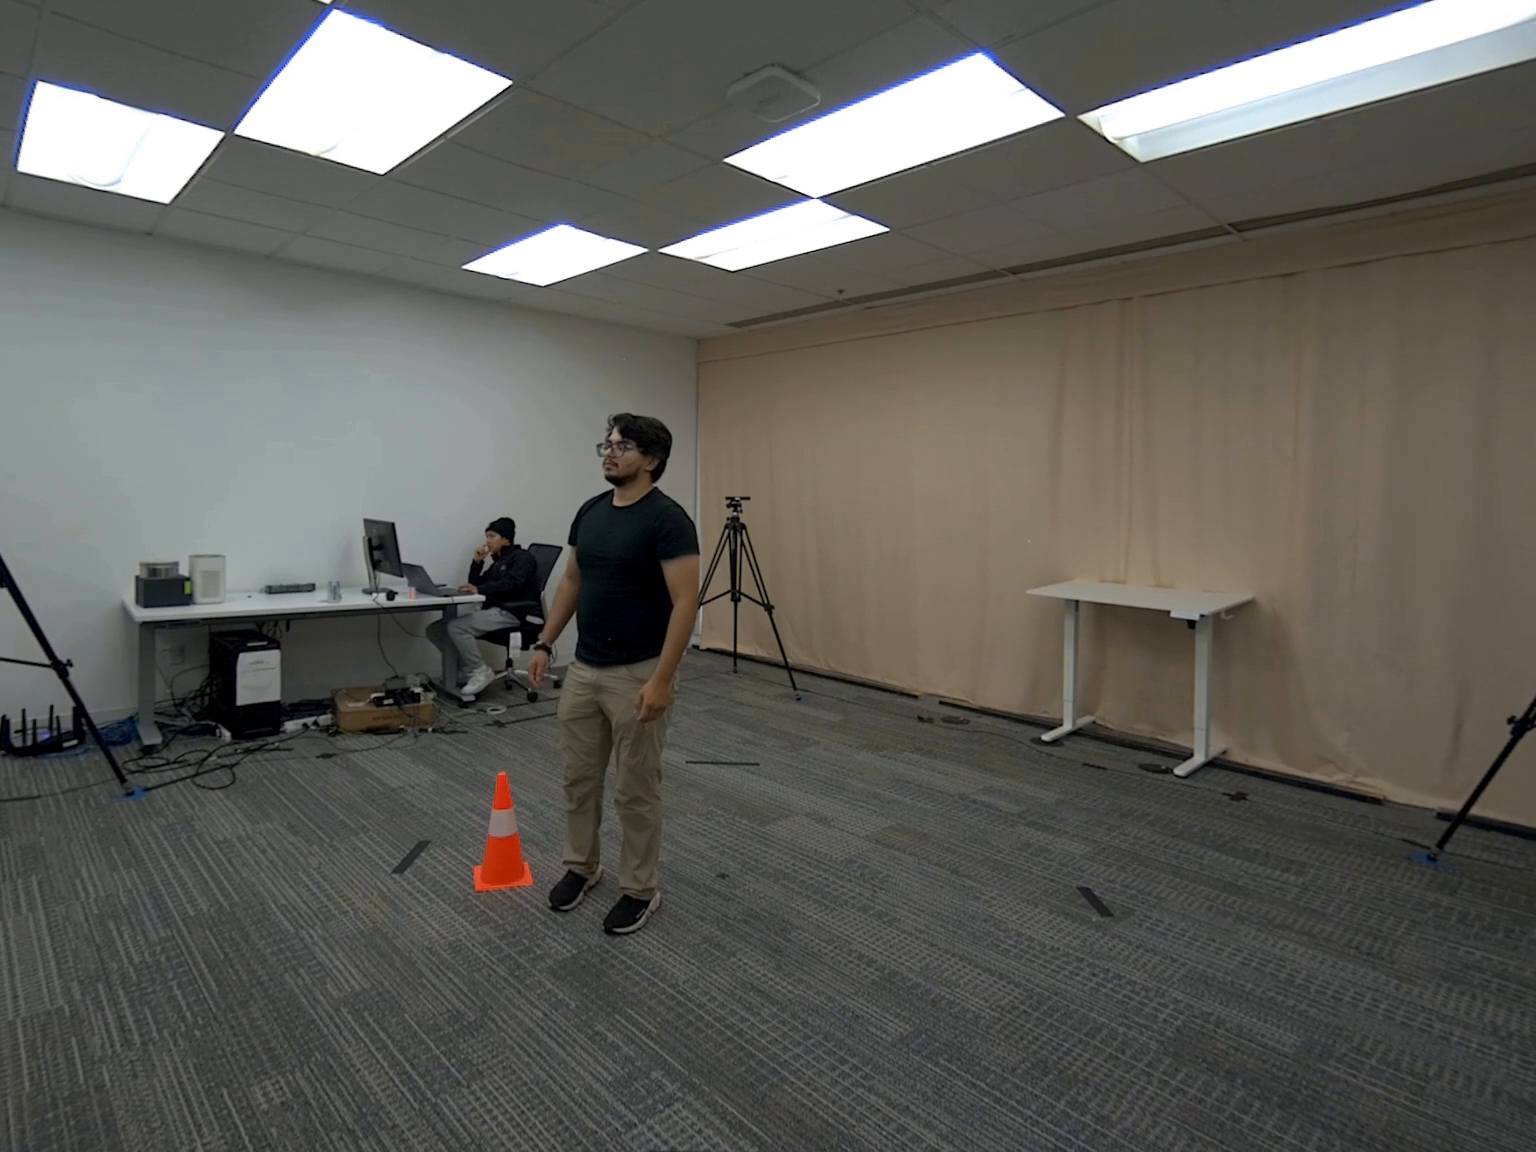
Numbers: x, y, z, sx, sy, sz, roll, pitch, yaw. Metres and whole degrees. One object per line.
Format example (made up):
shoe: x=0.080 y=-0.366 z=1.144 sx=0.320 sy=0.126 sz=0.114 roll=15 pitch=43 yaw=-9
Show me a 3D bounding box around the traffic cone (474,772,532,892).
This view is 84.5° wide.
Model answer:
traffic cone: x=-0.975 y=0.911 z=3.054 sx=0.200 sy=0.383 sz=0.209 roll=0 pitch=3 yaw=-25
